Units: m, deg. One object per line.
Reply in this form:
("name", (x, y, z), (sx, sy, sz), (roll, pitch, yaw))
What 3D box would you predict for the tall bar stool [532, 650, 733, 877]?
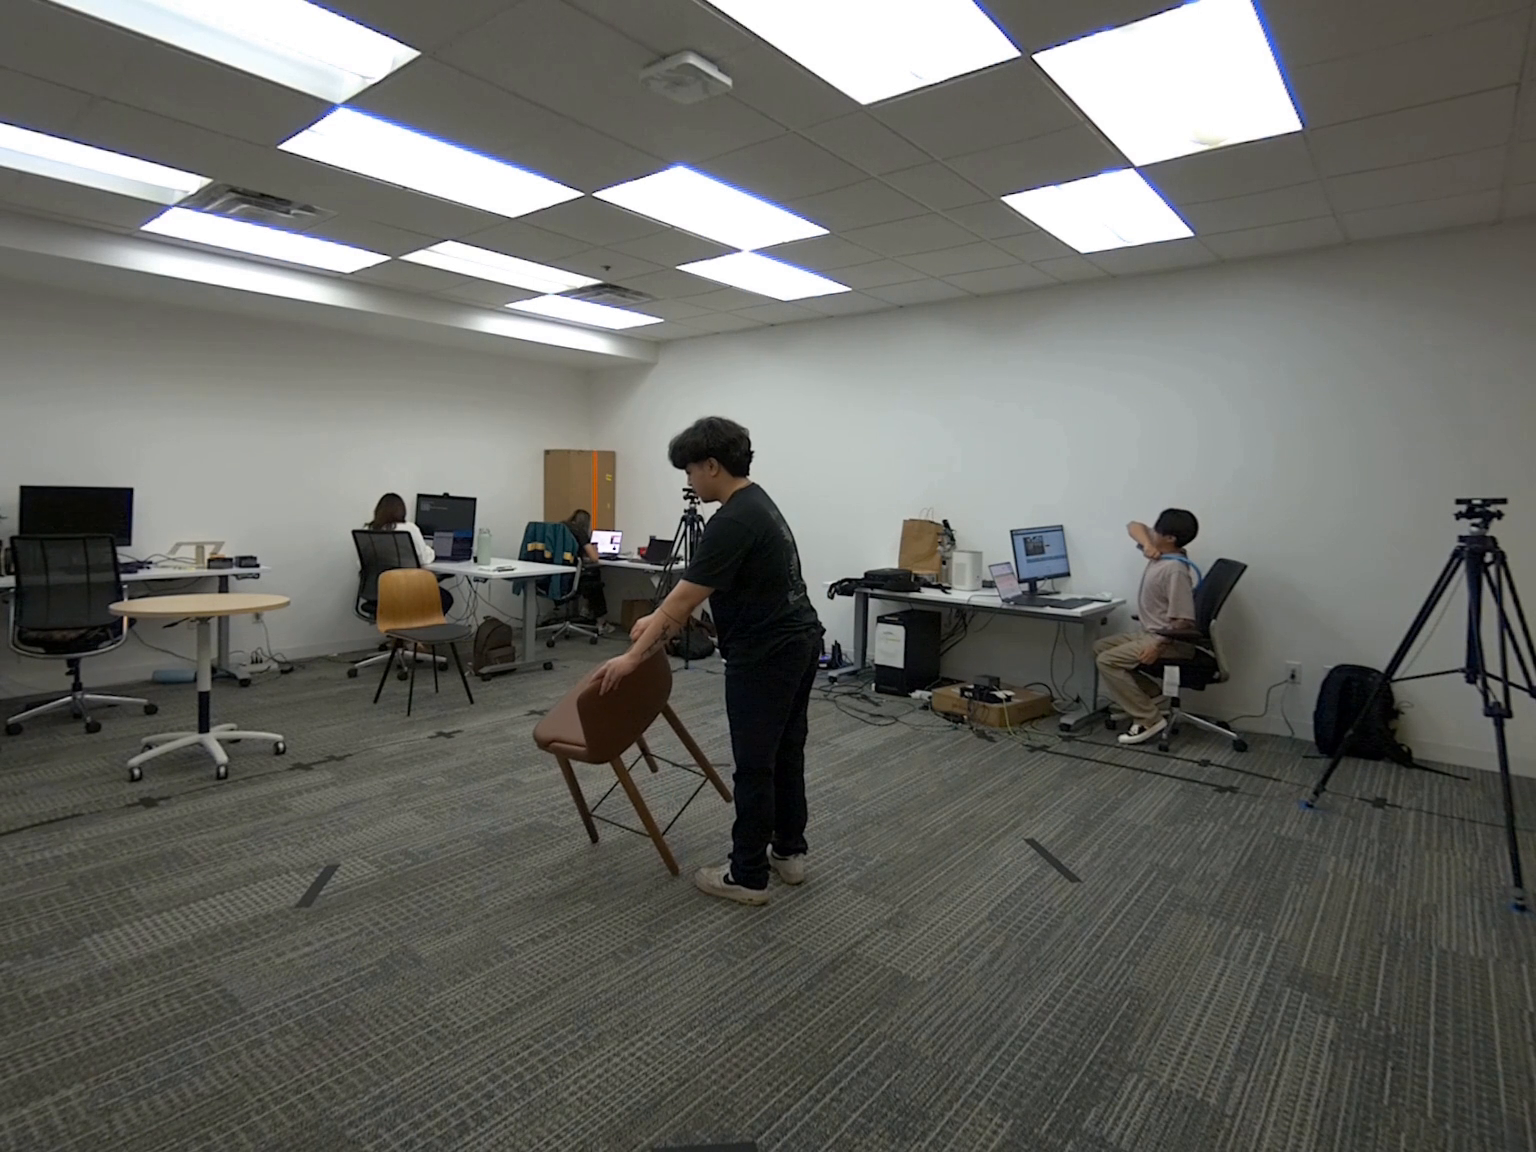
("tall bar stool", (-0.544, 0.597, 3.112), (0.484, 0.862, 0.455), (8, 39, 38))
